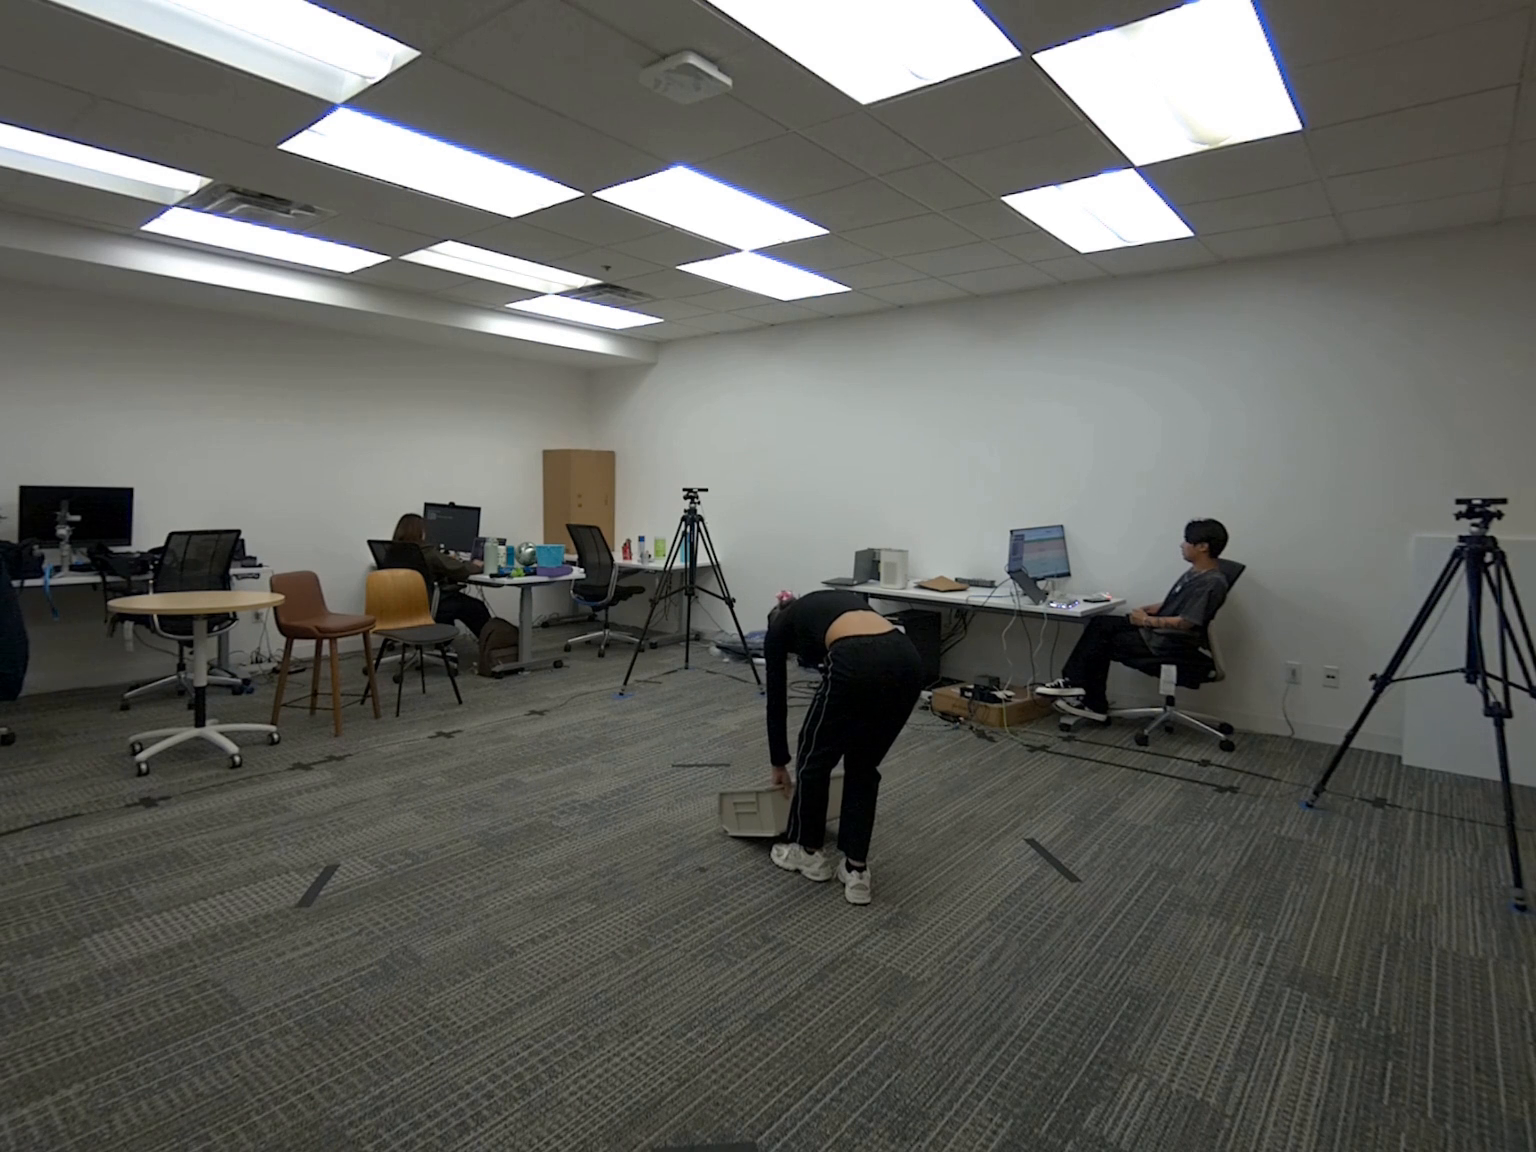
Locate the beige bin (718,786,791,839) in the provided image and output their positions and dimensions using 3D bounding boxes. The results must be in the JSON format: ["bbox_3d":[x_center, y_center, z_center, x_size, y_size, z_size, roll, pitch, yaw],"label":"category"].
[{"bbox_3d":[0.055,0.914,3.442,0.410,0.191,0.384,-1,-11,-35],"label":"beige bin"}]
